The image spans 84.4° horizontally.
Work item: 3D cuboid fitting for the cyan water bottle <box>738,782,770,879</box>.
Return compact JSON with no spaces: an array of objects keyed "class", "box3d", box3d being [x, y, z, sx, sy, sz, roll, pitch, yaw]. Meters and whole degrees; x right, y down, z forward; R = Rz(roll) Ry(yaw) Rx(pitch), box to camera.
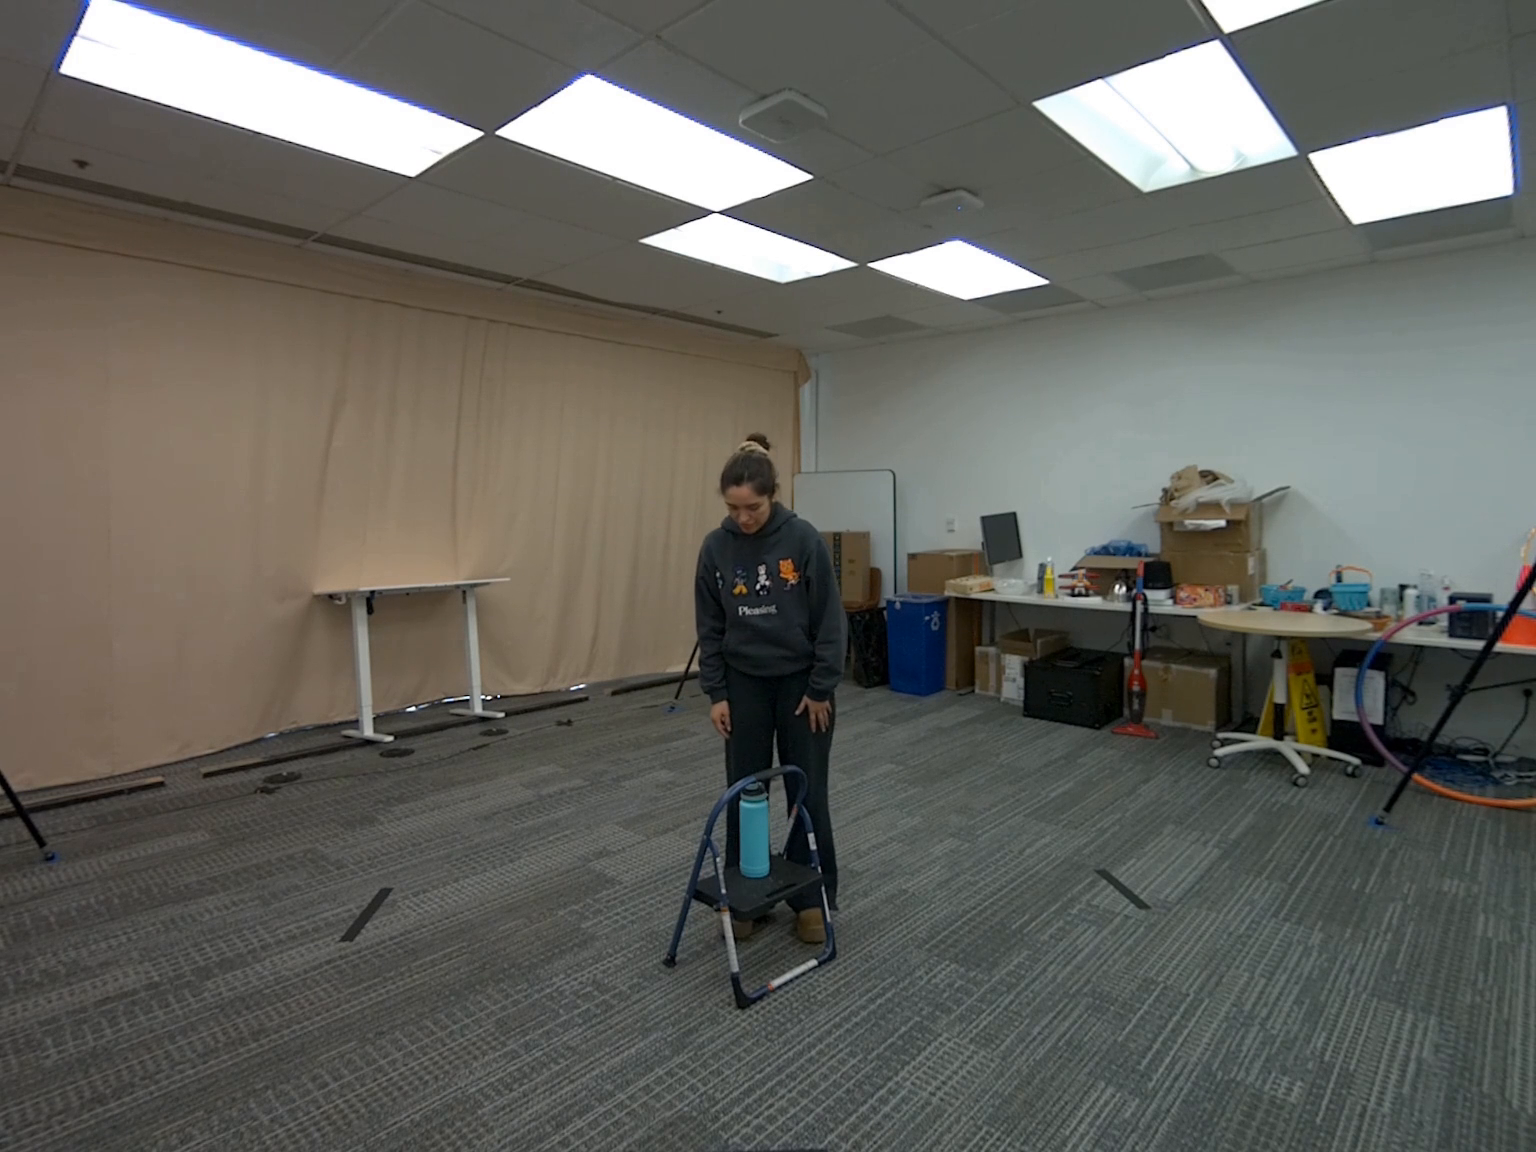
[{"class":"cyan water bottle","box3d":[-0.030,0.773,2.606,0.092,0.283,0.092,-3,0,-2]}]
